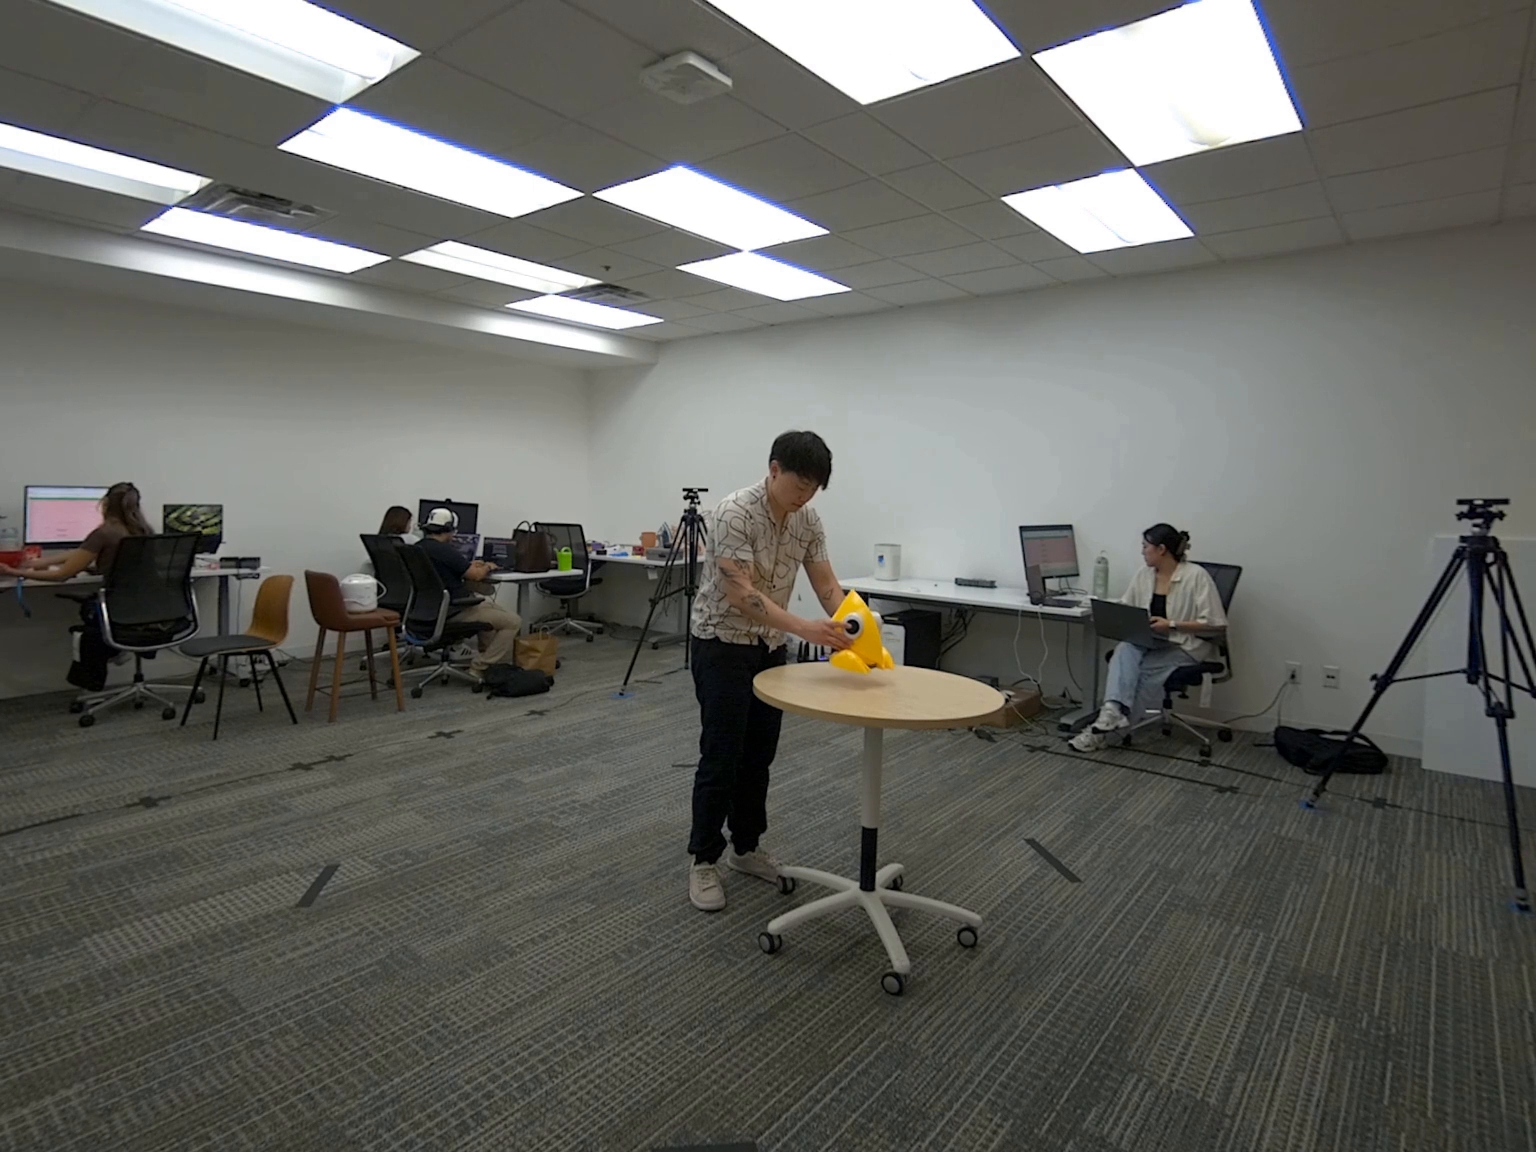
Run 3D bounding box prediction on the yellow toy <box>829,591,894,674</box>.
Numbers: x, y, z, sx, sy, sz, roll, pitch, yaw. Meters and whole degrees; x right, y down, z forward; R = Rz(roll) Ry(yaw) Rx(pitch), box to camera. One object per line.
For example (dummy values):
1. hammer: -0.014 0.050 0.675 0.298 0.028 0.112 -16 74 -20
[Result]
1. yellow toy: 0.289 0.164 2.682 0.198 0.229 0.200 -1 10 -41
